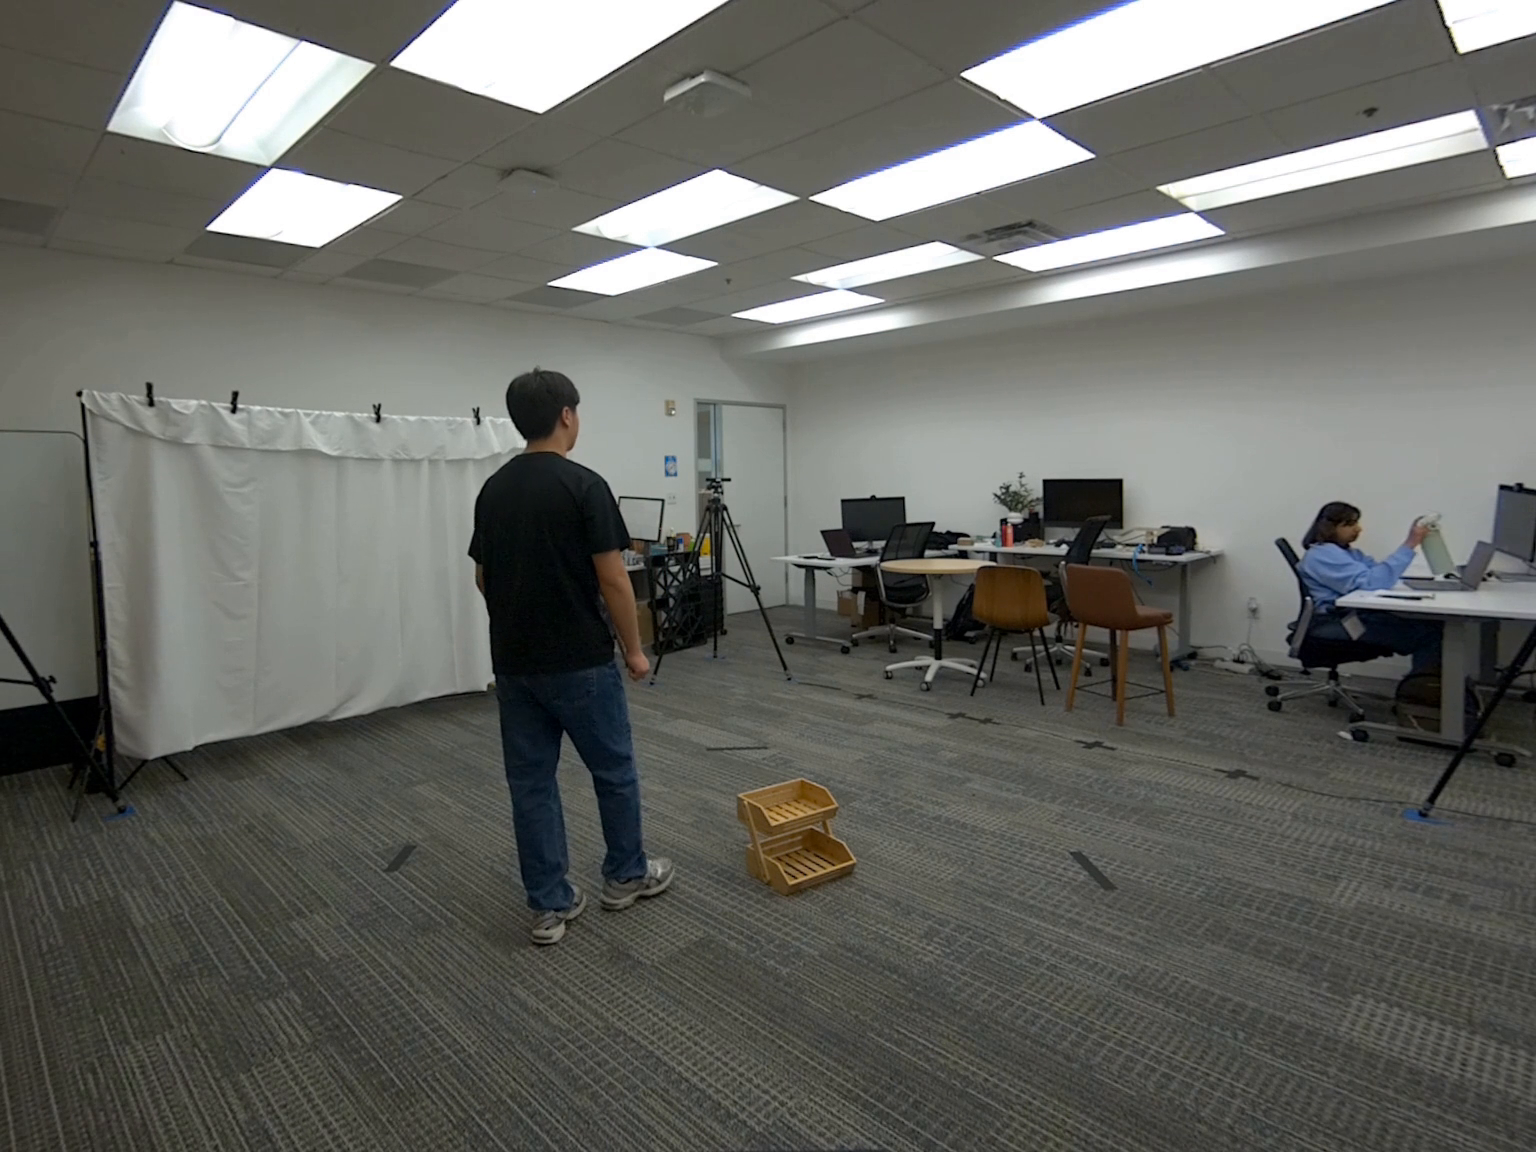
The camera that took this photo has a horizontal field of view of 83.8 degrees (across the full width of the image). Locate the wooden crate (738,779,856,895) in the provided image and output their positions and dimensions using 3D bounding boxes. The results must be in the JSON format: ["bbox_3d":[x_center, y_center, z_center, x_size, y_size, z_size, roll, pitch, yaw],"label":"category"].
[{"bbox_3d":[0.104,0.912,3.036,0.316,0.272,0.311,-5,6,-35],"label":"wooden crate"}]
